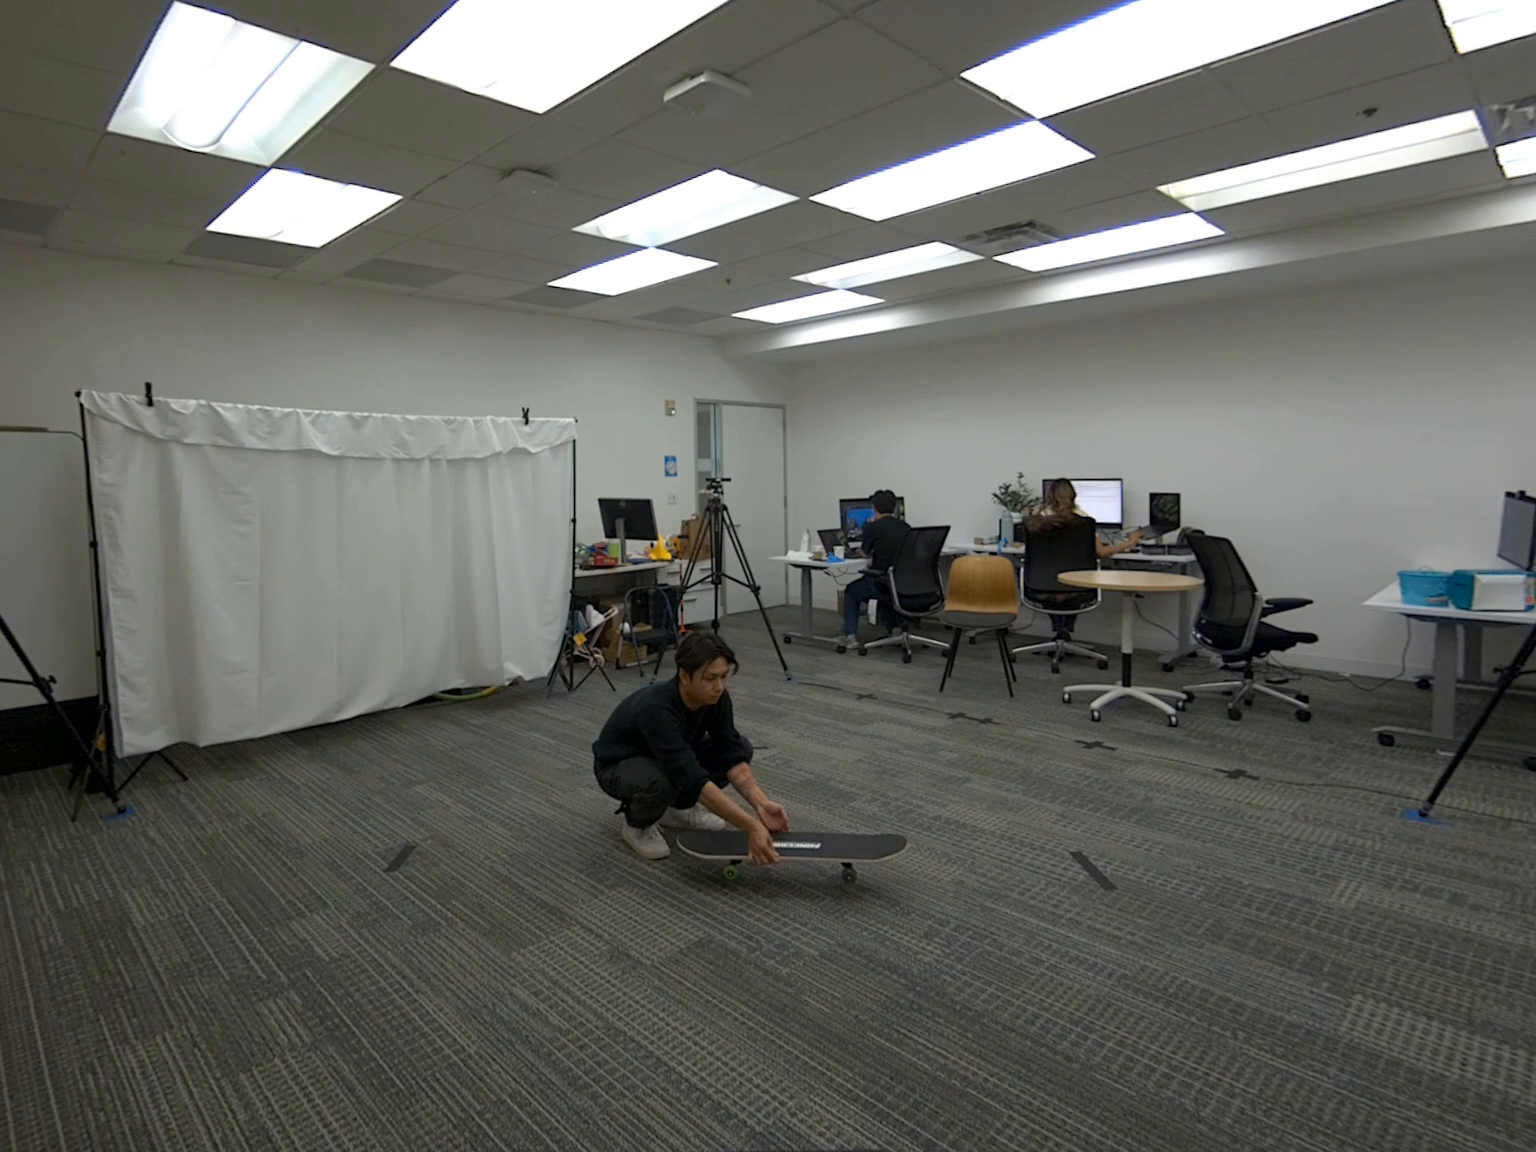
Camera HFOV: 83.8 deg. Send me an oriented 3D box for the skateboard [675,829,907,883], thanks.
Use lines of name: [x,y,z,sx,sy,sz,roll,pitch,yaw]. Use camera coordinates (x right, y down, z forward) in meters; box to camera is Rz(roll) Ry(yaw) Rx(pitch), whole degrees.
skateboard: [0.084,0.953,2.930,0.793,0.110,0.192,-2,7,11]
